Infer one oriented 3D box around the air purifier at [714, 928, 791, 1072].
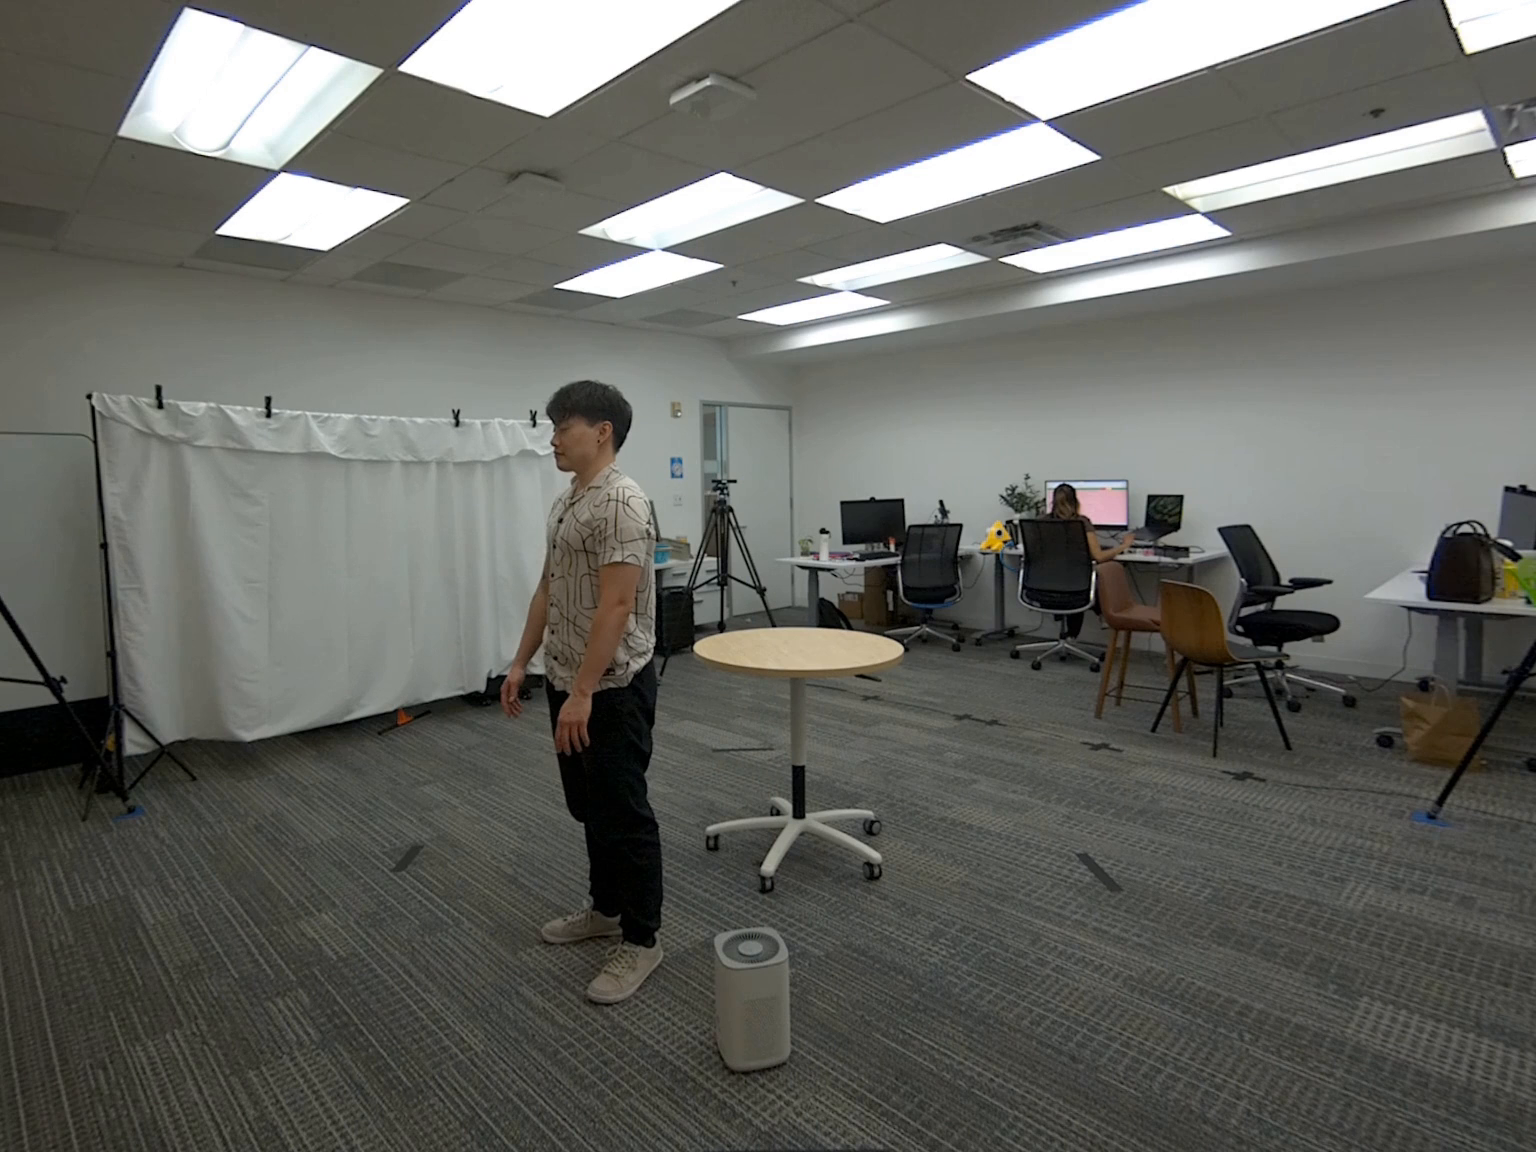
[{"bbox_3d":[-0.030,1.037,2.086,0.169,0.264,0.174,-3,4,-18],"label":"air purifier"}]
